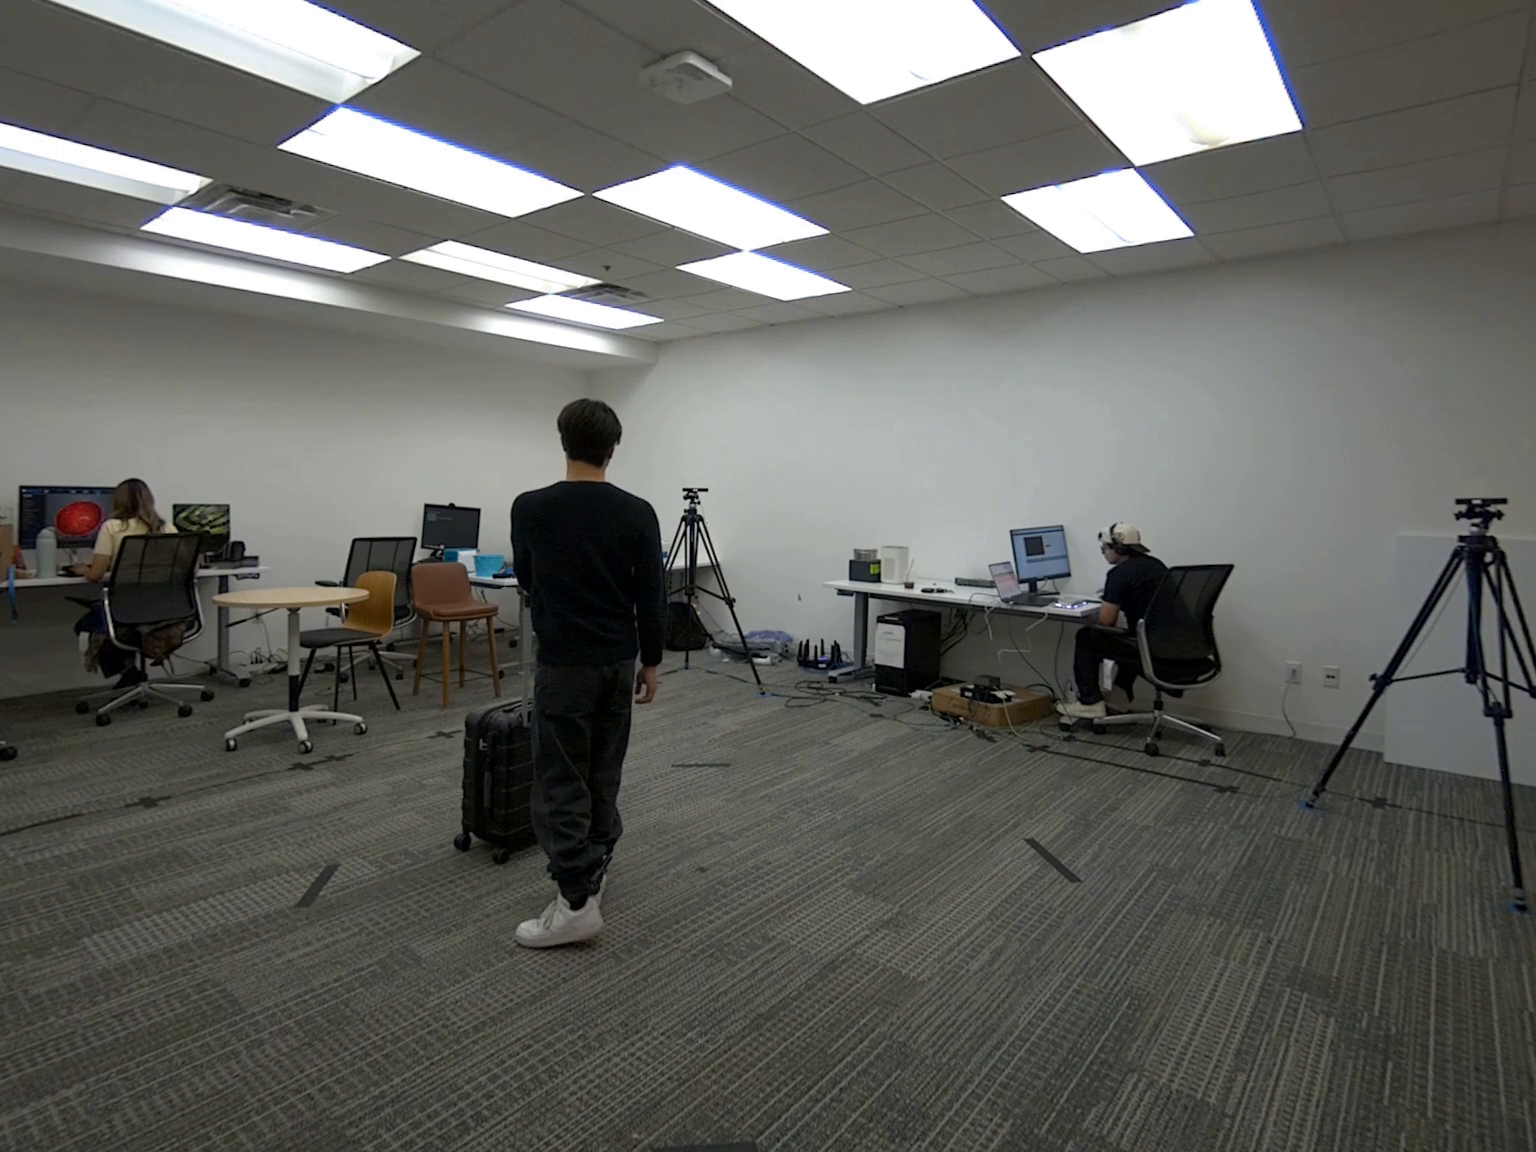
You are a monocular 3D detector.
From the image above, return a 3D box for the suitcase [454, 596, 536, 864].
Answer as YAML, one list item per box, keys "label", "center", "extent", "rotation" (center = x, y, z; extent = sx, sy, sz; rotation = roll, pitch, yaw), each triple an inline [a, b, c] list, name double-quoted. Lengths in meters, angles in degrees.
- label: "suitcase"
  center: [-1.003, 0.561, 3.313]
  extent: [0.264, 0.978, 0.373]
  rotation: [1, 0, 28]
